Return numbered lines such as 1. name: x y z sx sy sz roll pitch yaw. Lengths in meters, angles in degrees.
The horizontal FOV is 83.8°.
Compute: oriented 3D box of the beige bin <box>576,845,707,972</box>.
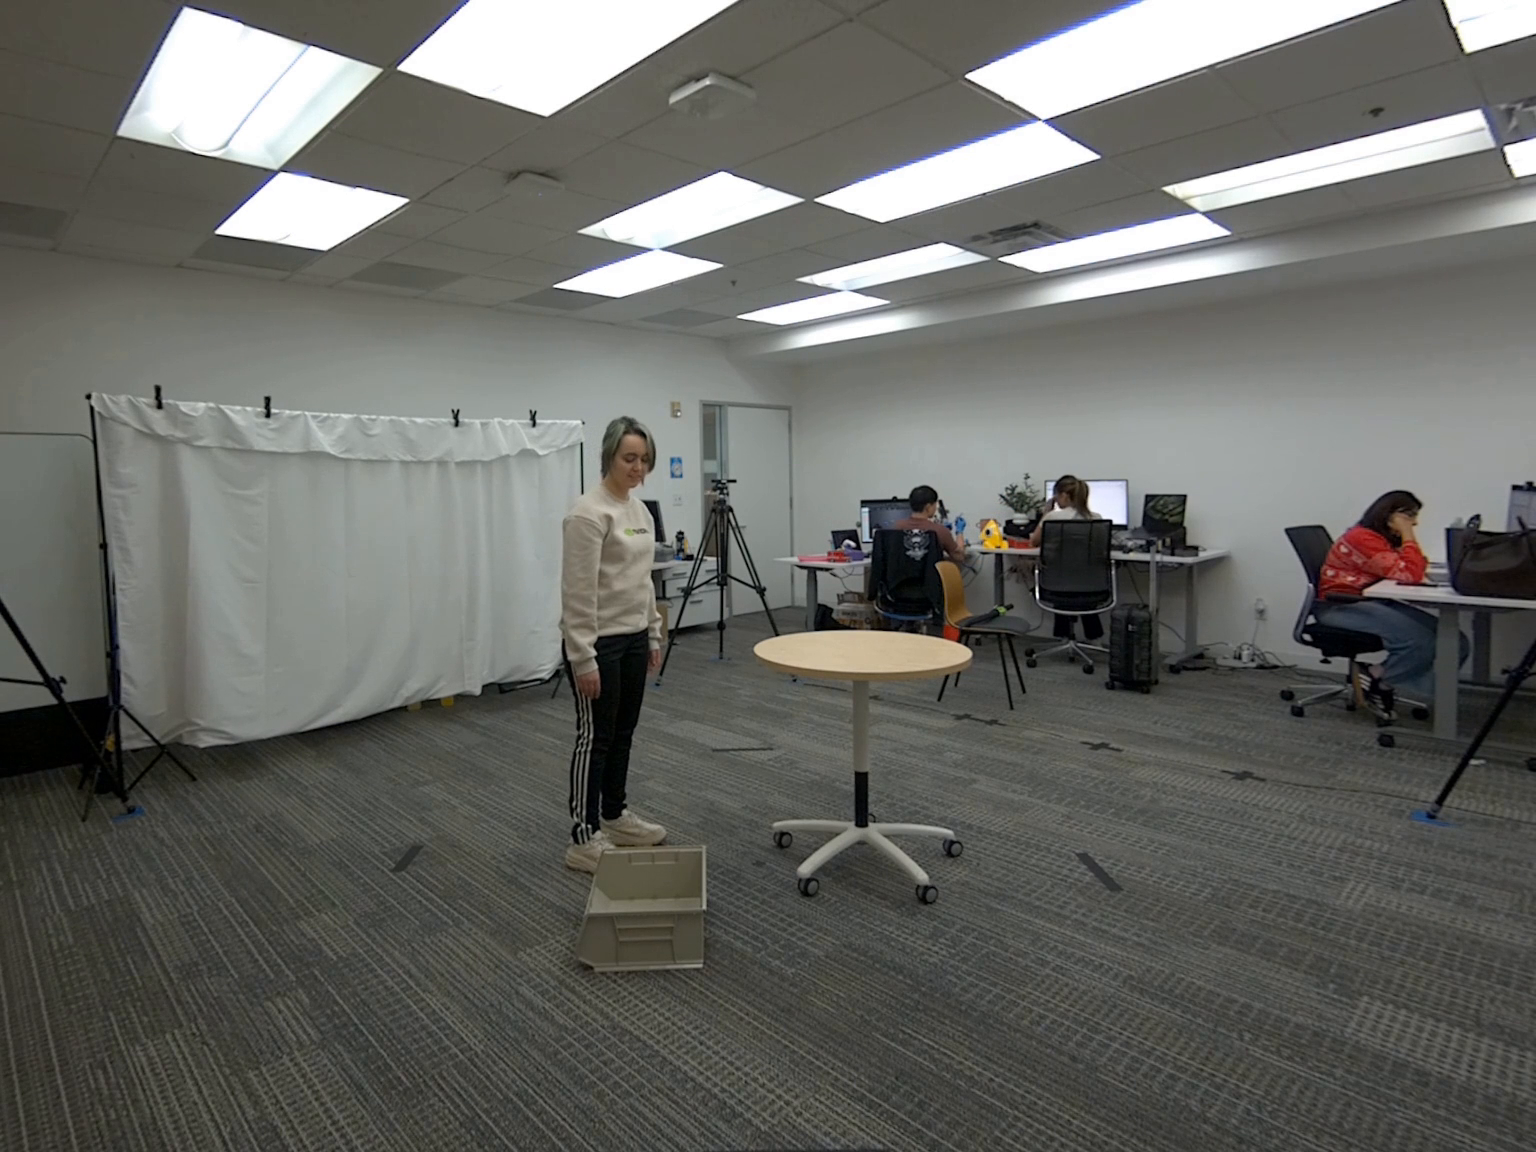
1. beige bin: -0.376 1.023 2.641 0.376 0.188 0.425 -1 6 -4
